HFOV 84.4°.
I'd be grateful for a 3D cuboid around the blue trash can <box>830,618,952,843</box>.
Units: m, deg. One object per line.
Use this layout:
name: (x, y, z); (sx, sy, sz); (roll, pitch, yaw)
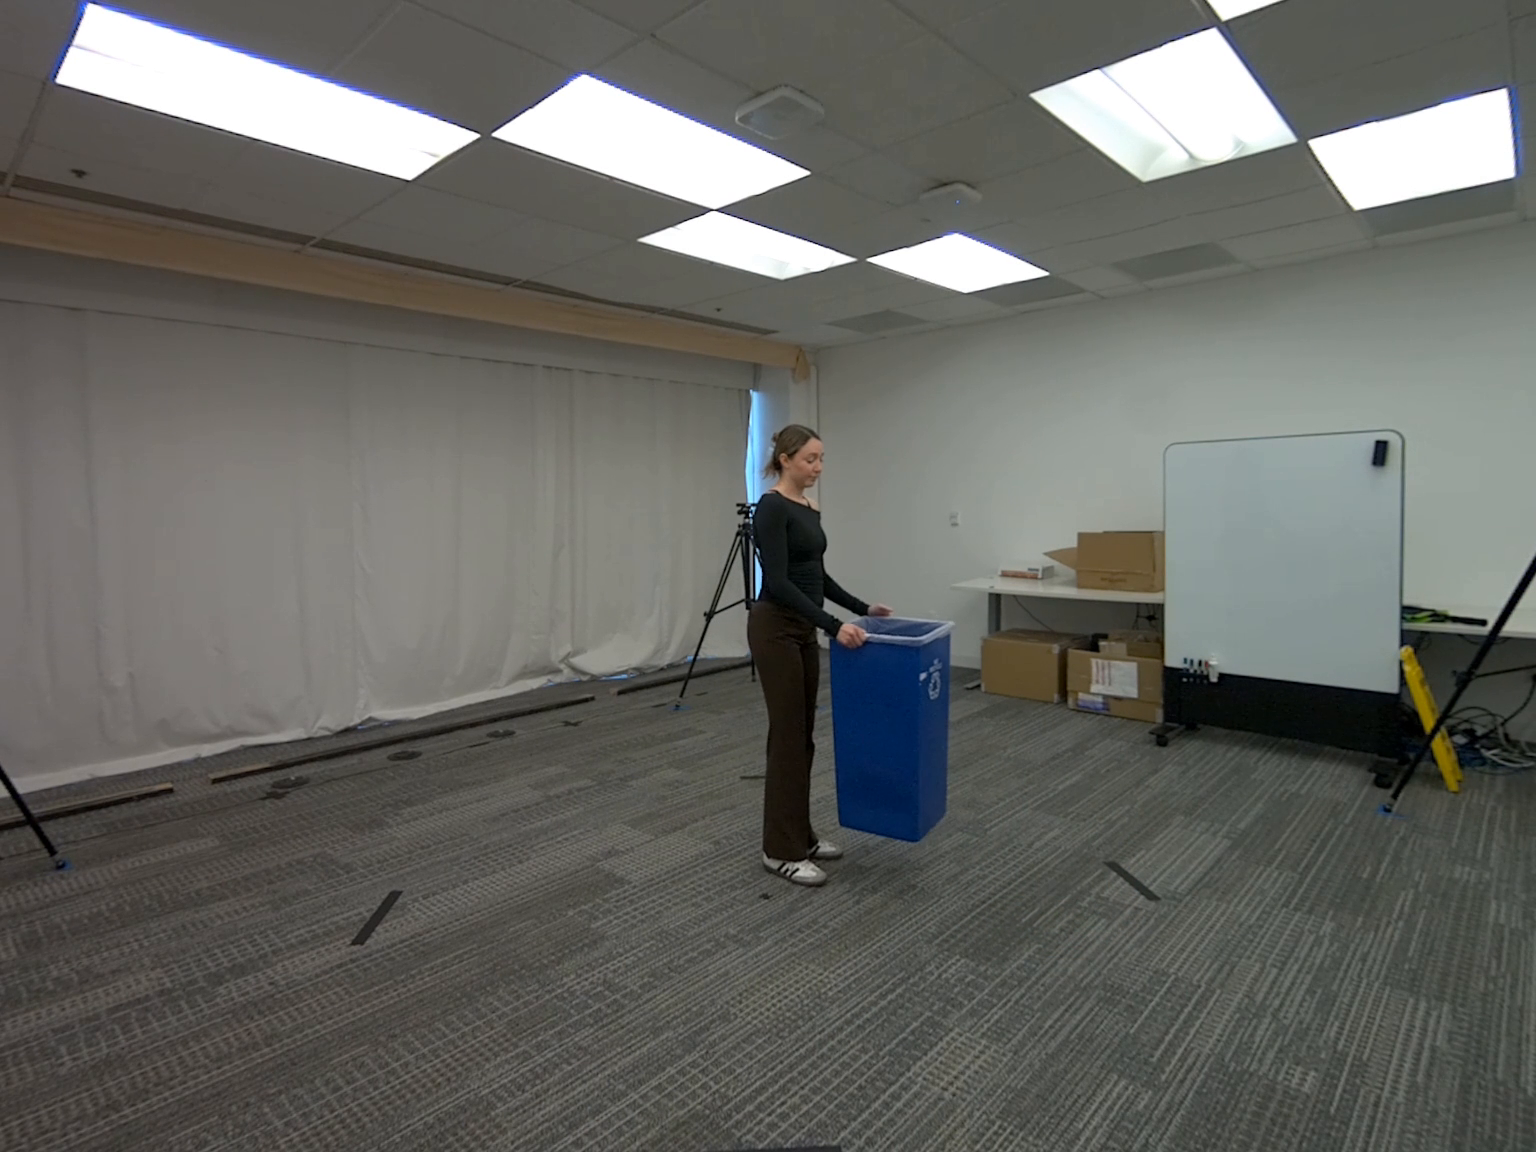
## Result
blue trash can: (0.454, 0.538, 3.039); (0.389, 0.710, 0.364); (2, 7, 32)
